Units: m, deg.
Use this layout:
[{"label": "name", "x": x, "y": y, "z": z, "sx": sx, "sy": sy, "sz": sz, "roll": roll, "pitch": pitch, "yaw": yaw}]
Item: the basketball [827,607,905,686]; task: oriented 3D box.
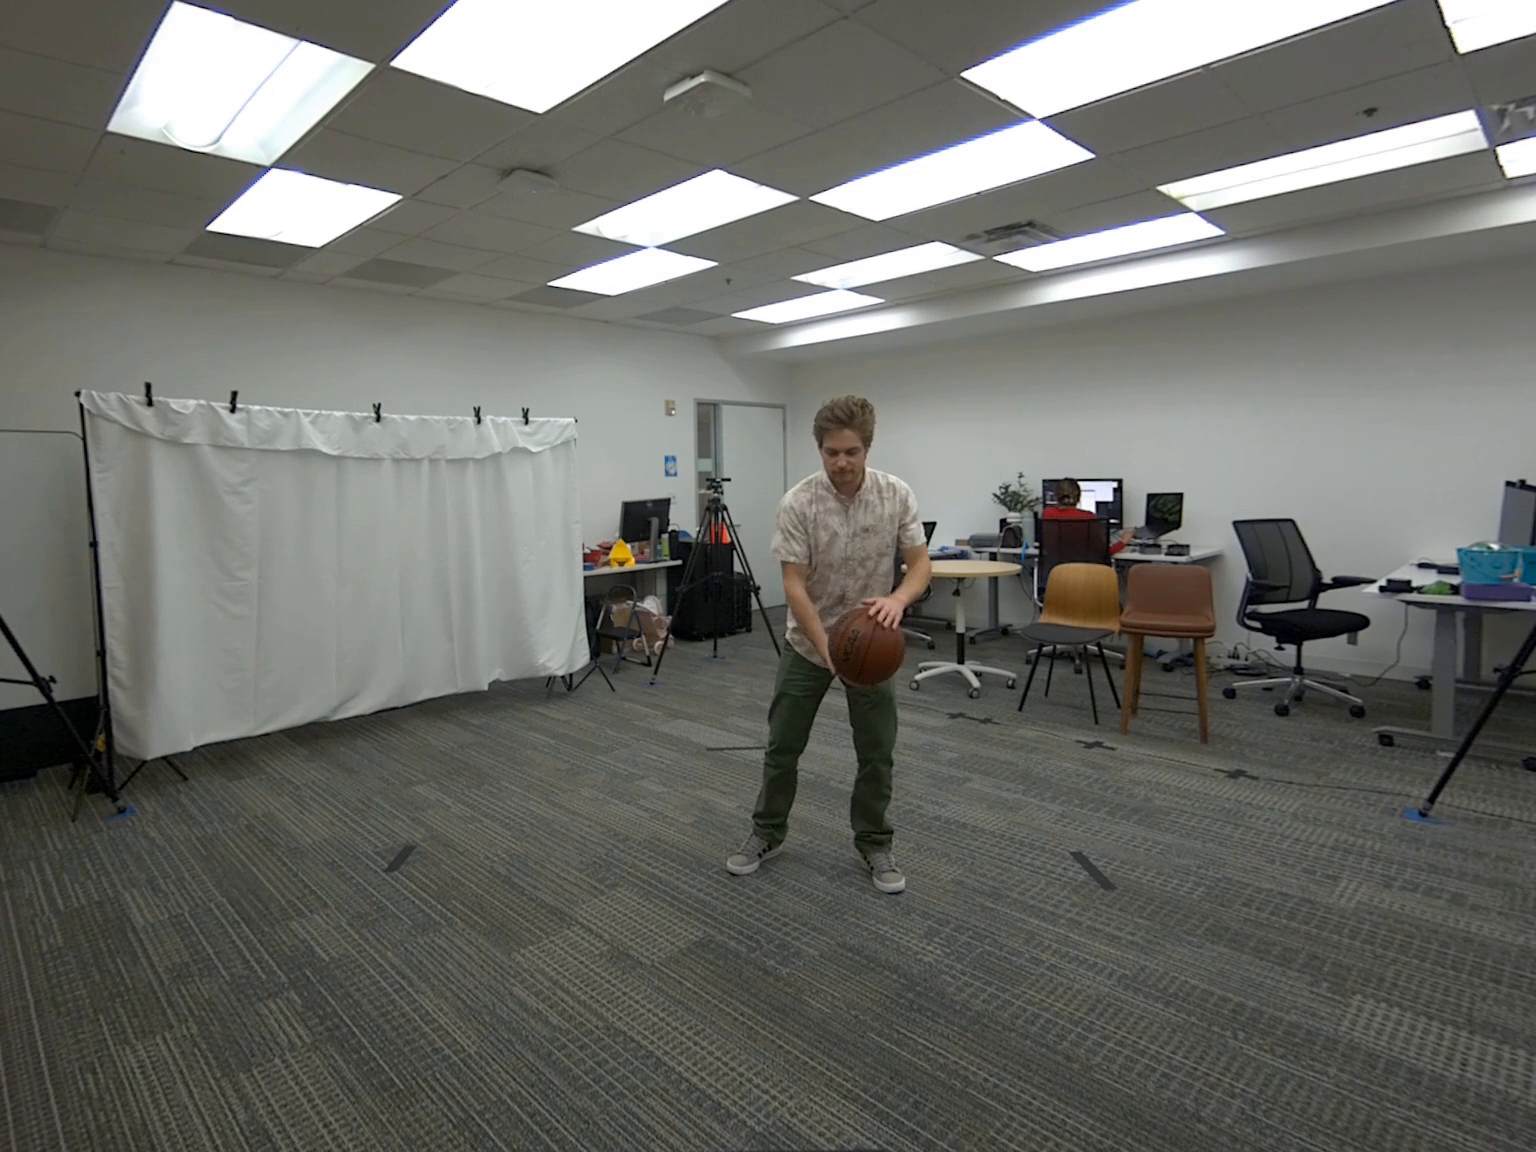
[{"label": "basketball", "x": 0.303, "y": 0.207, "z": 2.667, "sx": 0.236, "sy": 0.235, "sz": 0.237, "roll": -1, "pitch": 5, "yaw": -2}]
